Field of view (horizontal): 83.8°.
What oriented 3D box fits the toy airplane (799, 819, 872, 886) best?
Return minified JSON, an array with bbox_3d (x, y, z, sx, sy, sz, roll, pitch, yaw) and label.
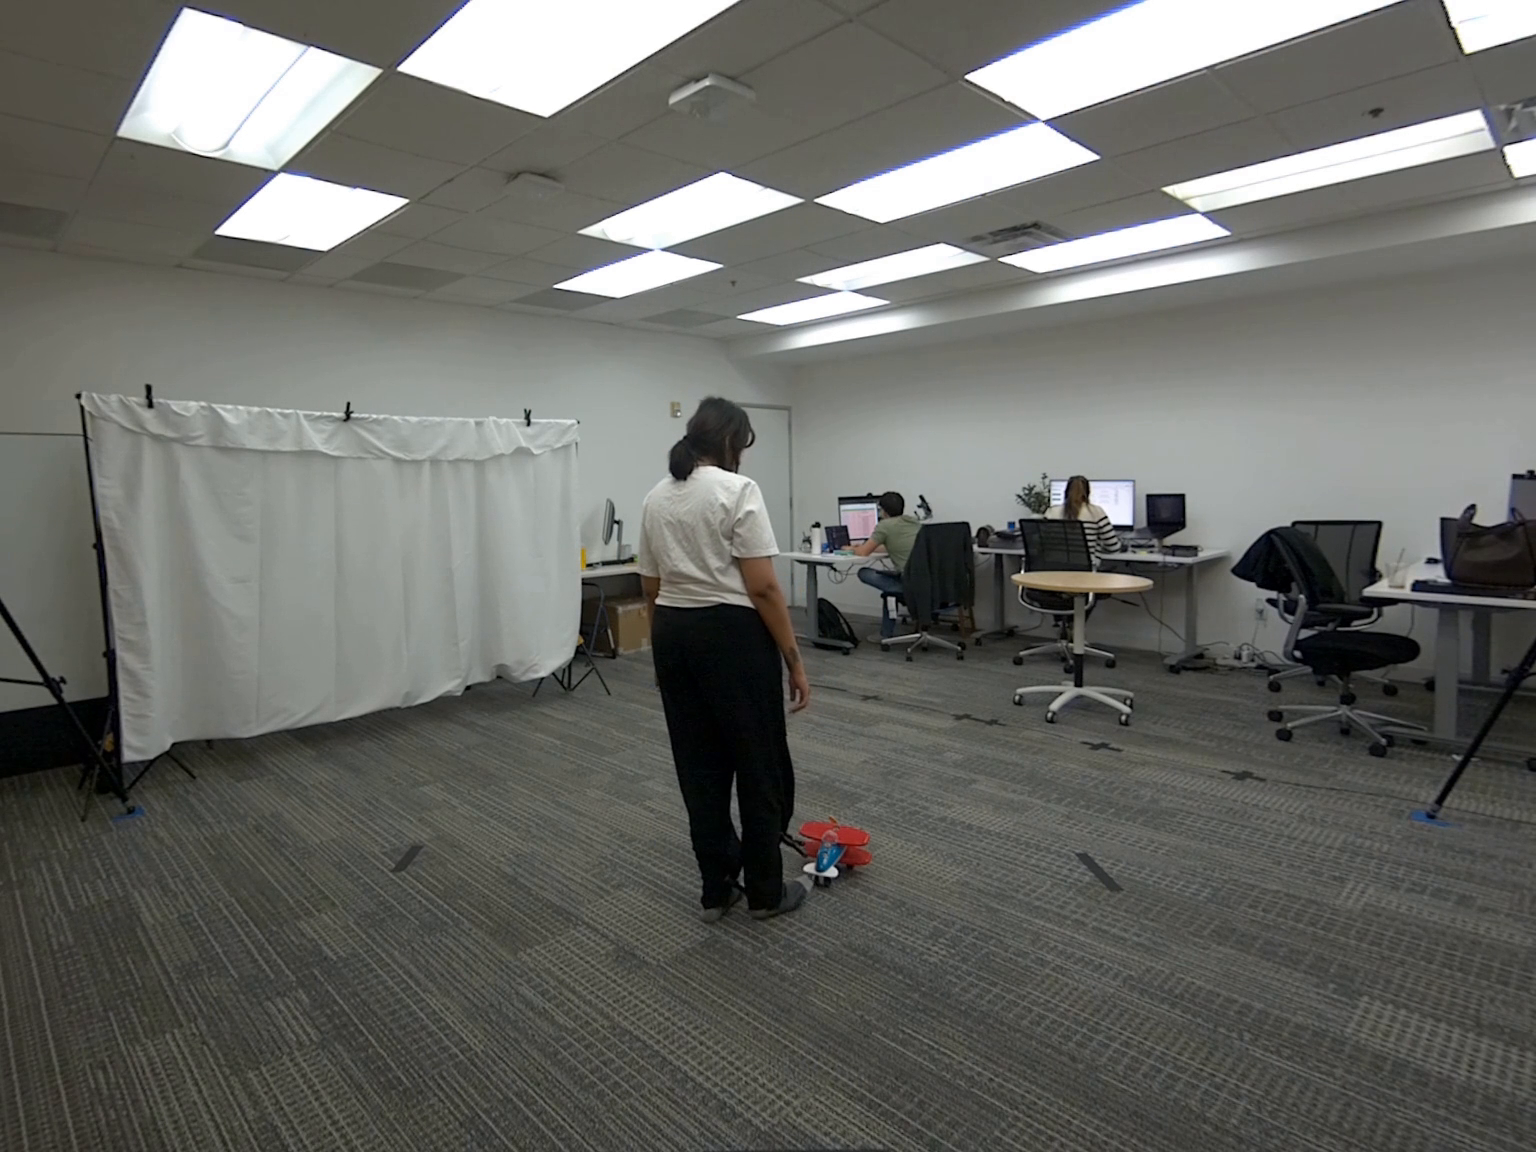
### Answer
[{"bbox_3d":[0.245,0.977,3.003,0.251,0.156,0.261,-1,5,-3],"label":"toy airplane"}]
